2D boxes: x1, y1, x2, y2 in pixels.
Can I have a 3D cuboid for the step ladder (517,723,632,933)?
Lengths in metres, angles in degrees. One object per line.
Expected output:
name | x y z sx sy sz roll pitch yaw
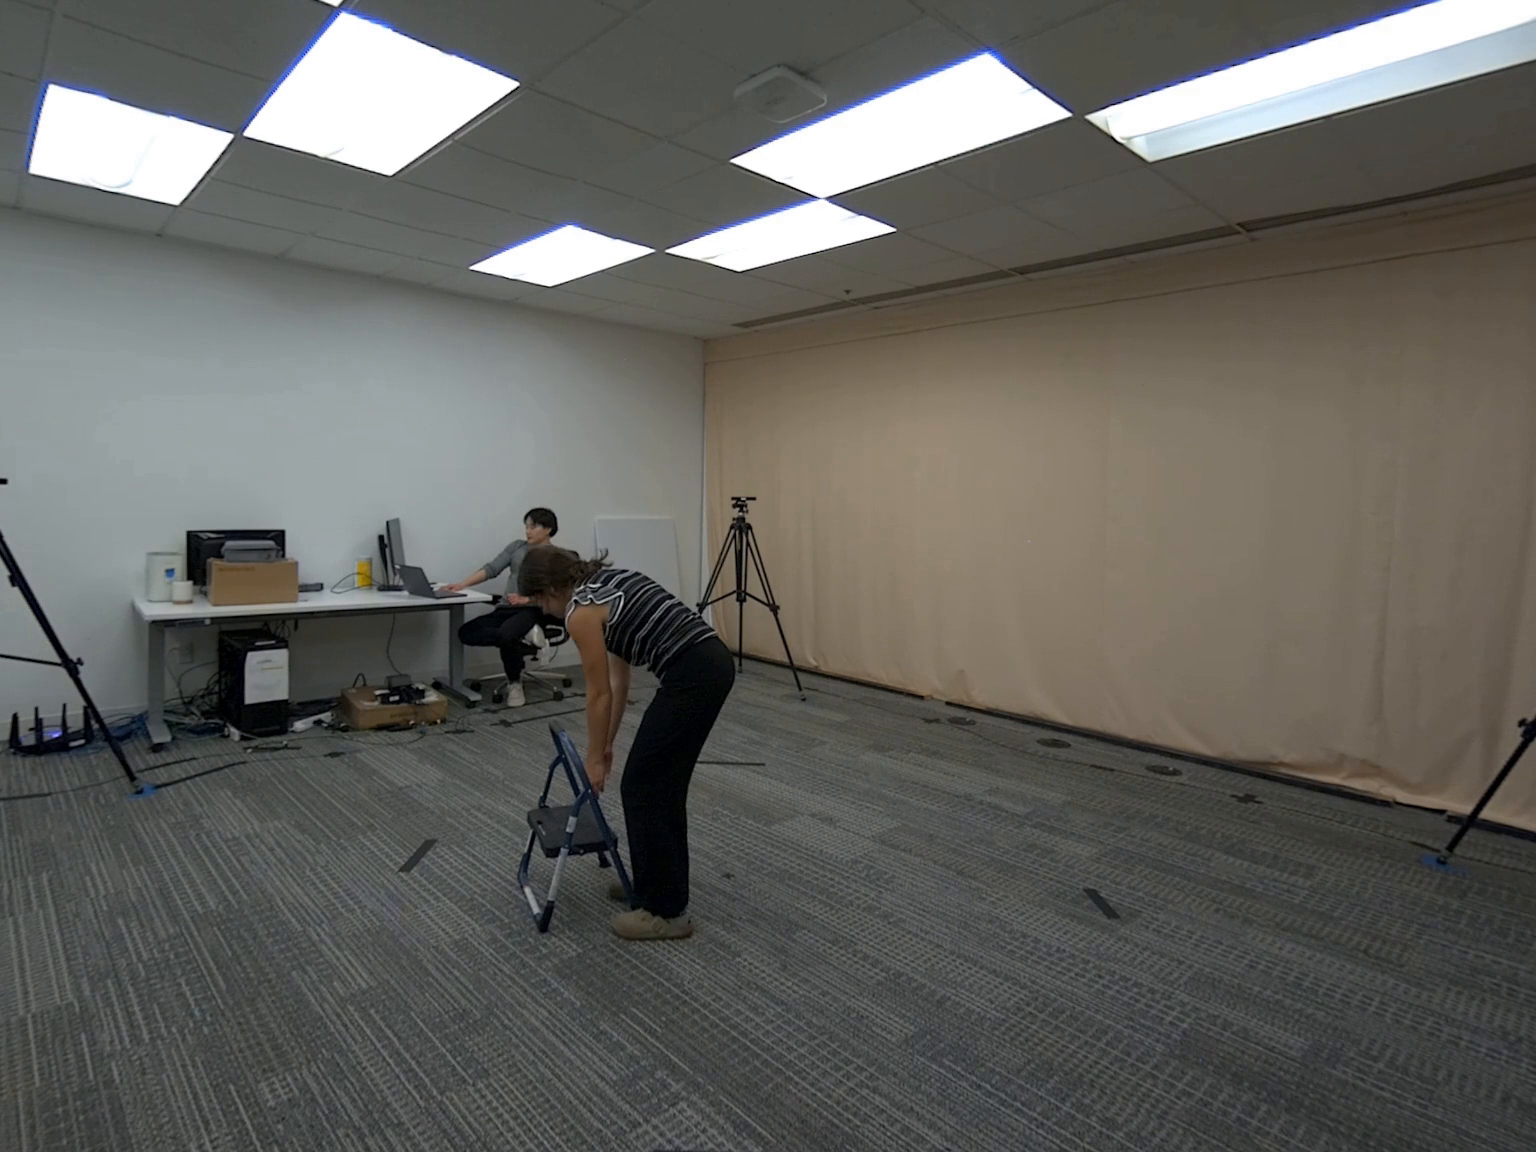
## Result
step ladder | -0.663 0.811 2.905 0.343 0.604 0.439 -1 4 -26
